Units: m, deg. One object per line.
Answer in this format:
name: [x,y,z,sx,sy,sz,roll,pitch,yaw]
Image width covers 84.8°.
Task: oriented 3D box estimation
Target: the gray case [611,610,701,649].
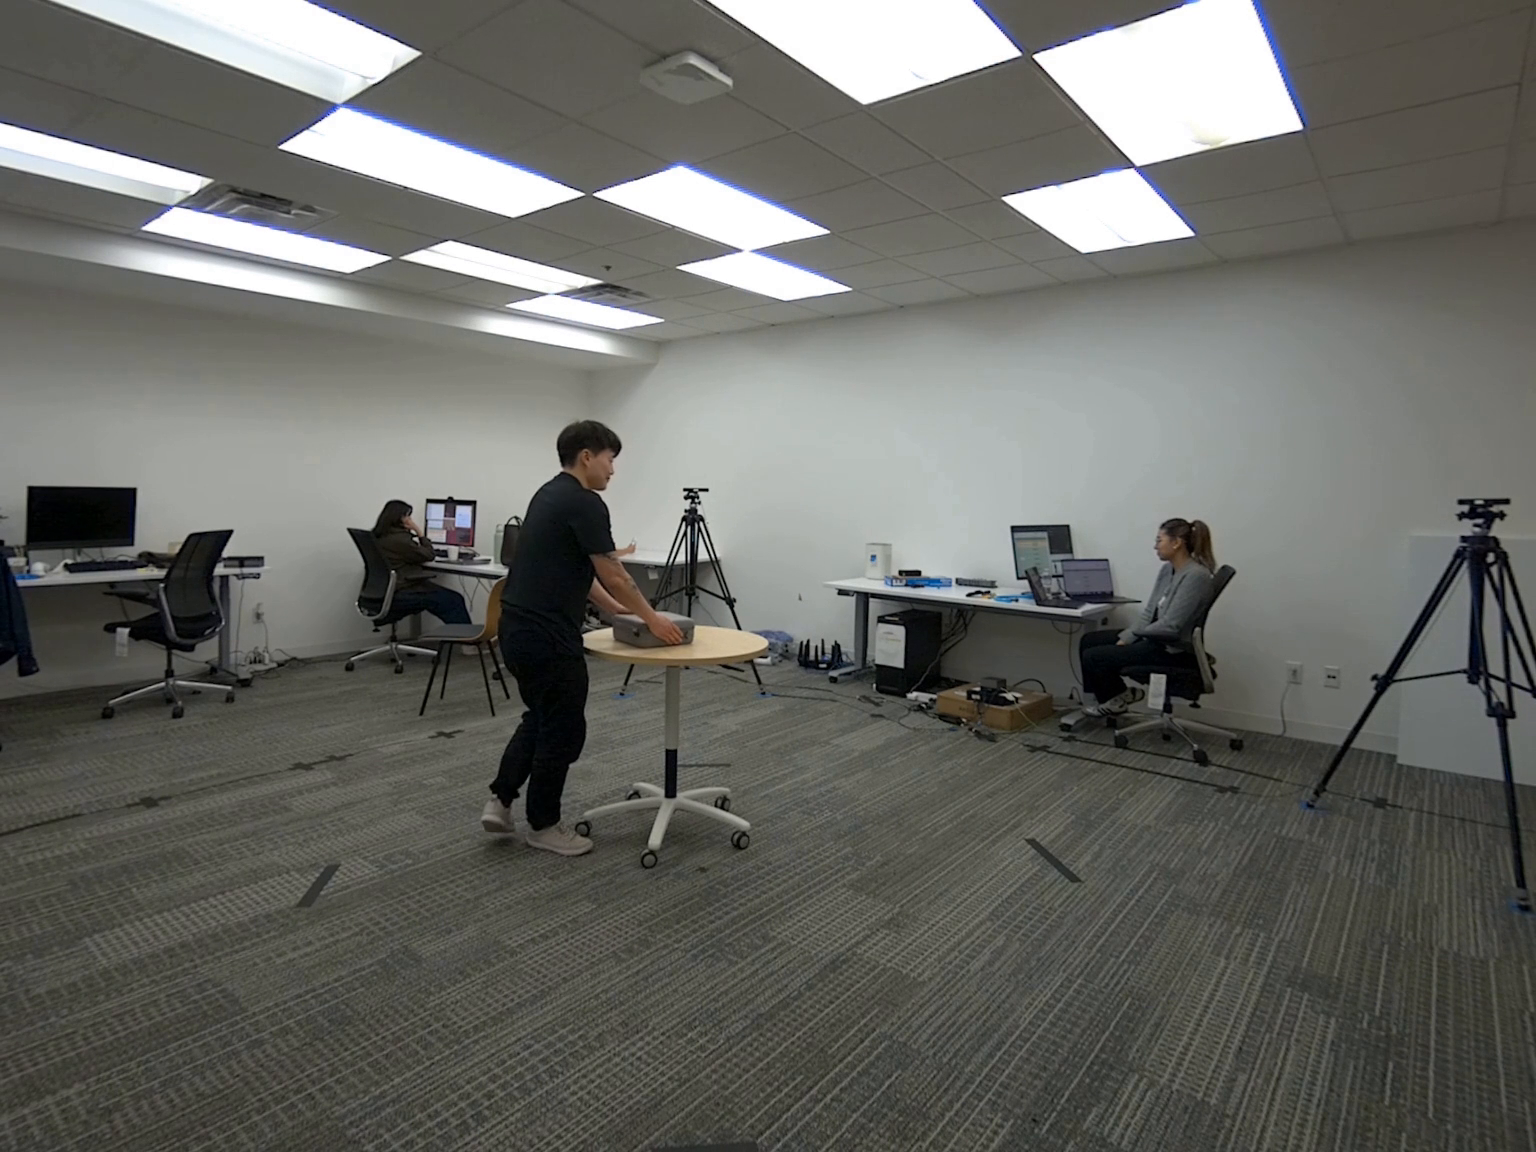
gray case: [-0.453,0.208,3.366,0.253,0.104,0.265,-2,5,-36]
